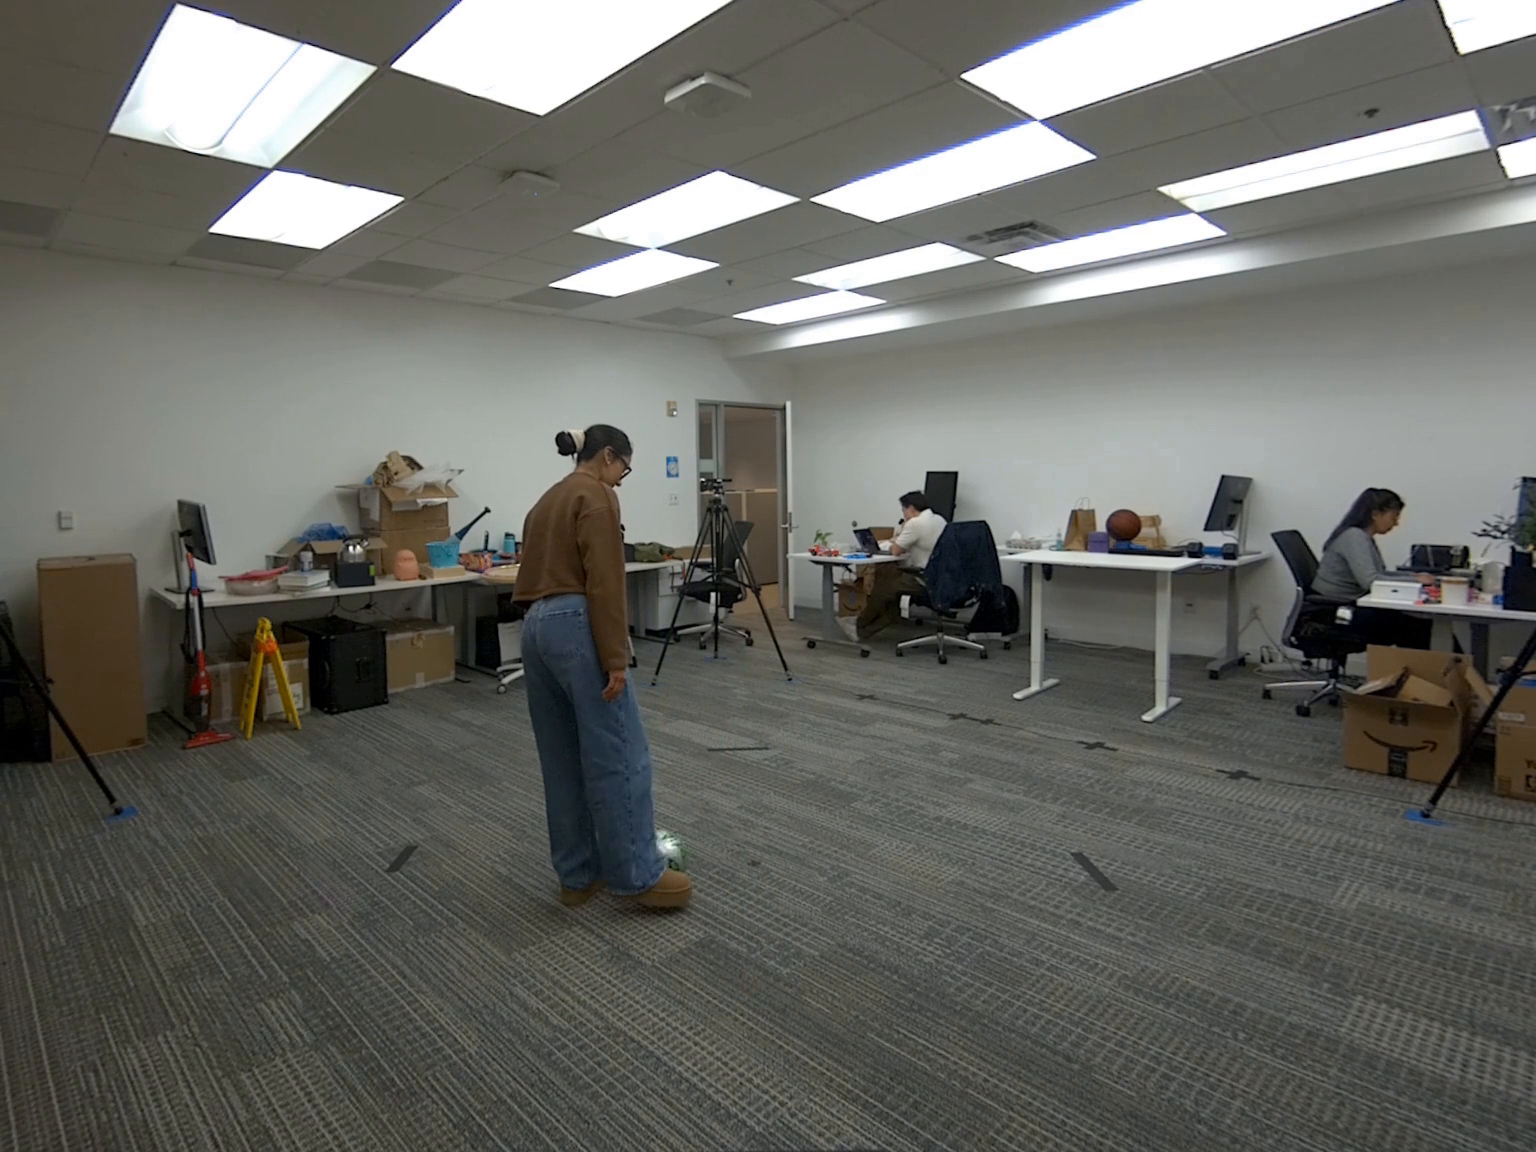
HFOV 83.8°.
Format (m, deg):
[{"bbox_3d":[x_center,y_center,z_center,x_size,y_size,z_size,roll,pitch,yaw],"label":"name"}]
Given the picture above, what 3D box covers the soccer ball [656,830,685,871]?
[{"bbox_3d":[-0.353,0.972,2.962,0.187,0.187,0.188,-1,5,-2],"label":"soccer ball"}]
